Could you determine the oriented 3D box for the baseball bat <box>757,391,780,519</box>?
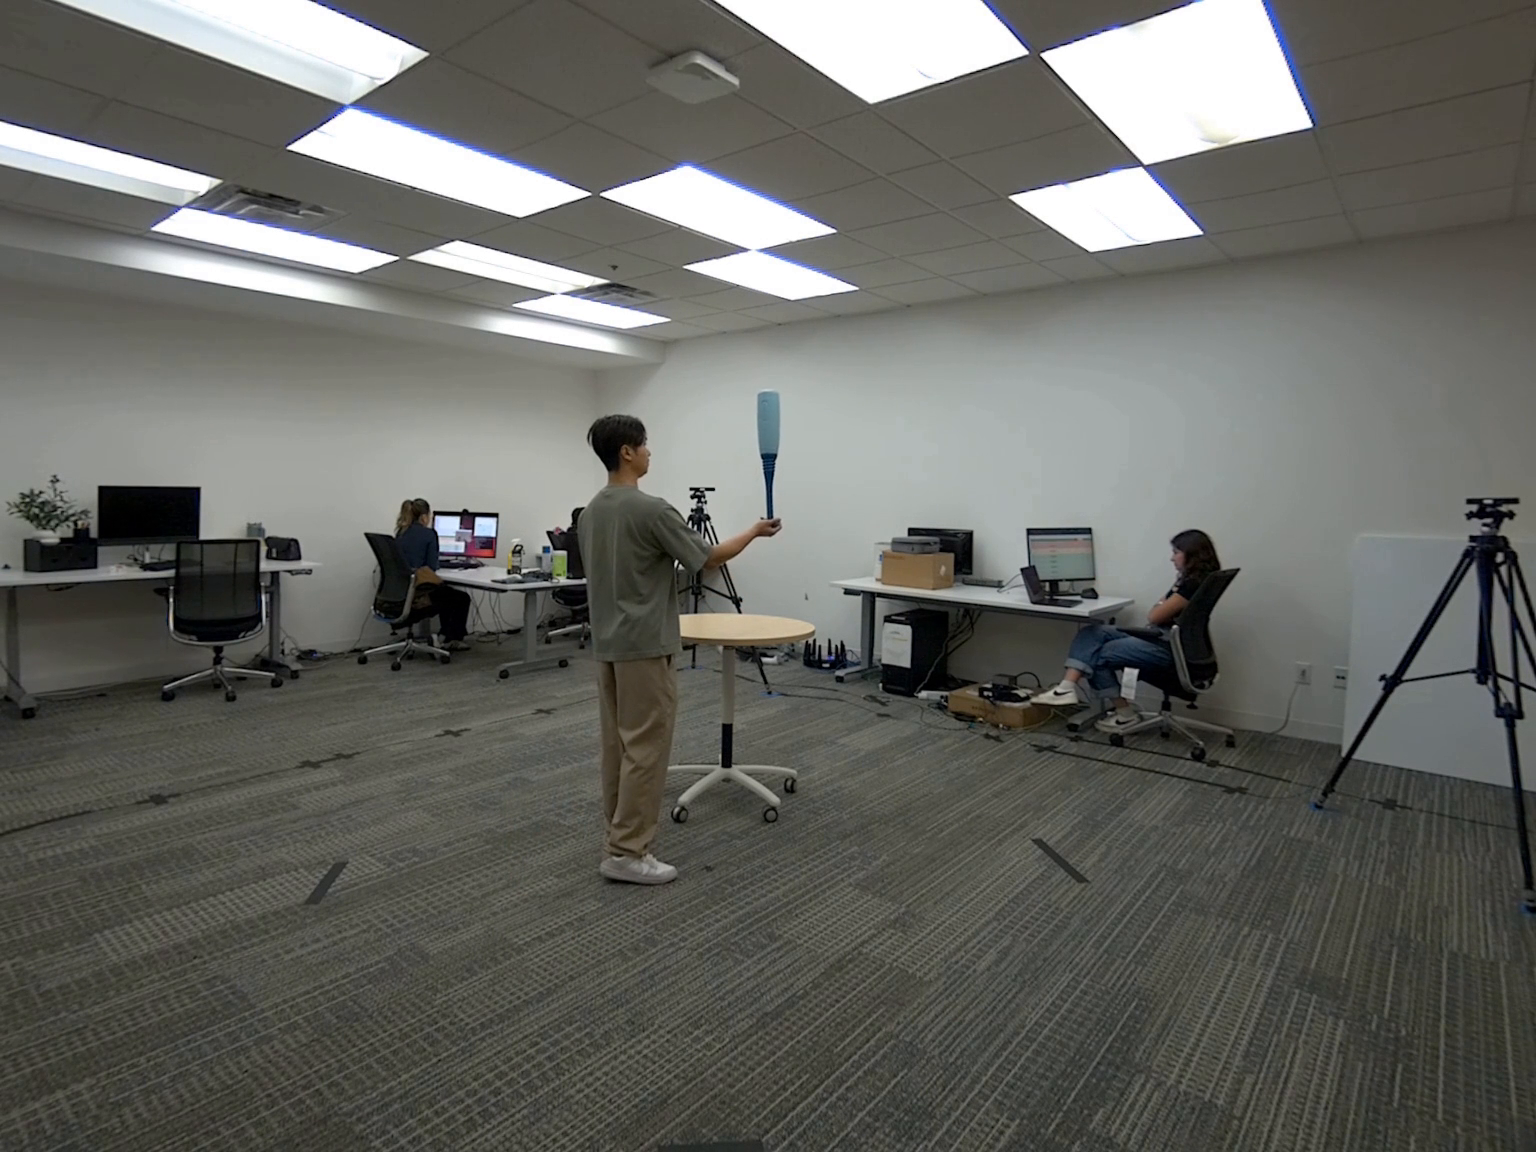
[{"bbox_3d":[-0.010,-0.463,3.345,0.089,0.544,0.089,-1,-2,-2],"label":"baseball bat"}]
